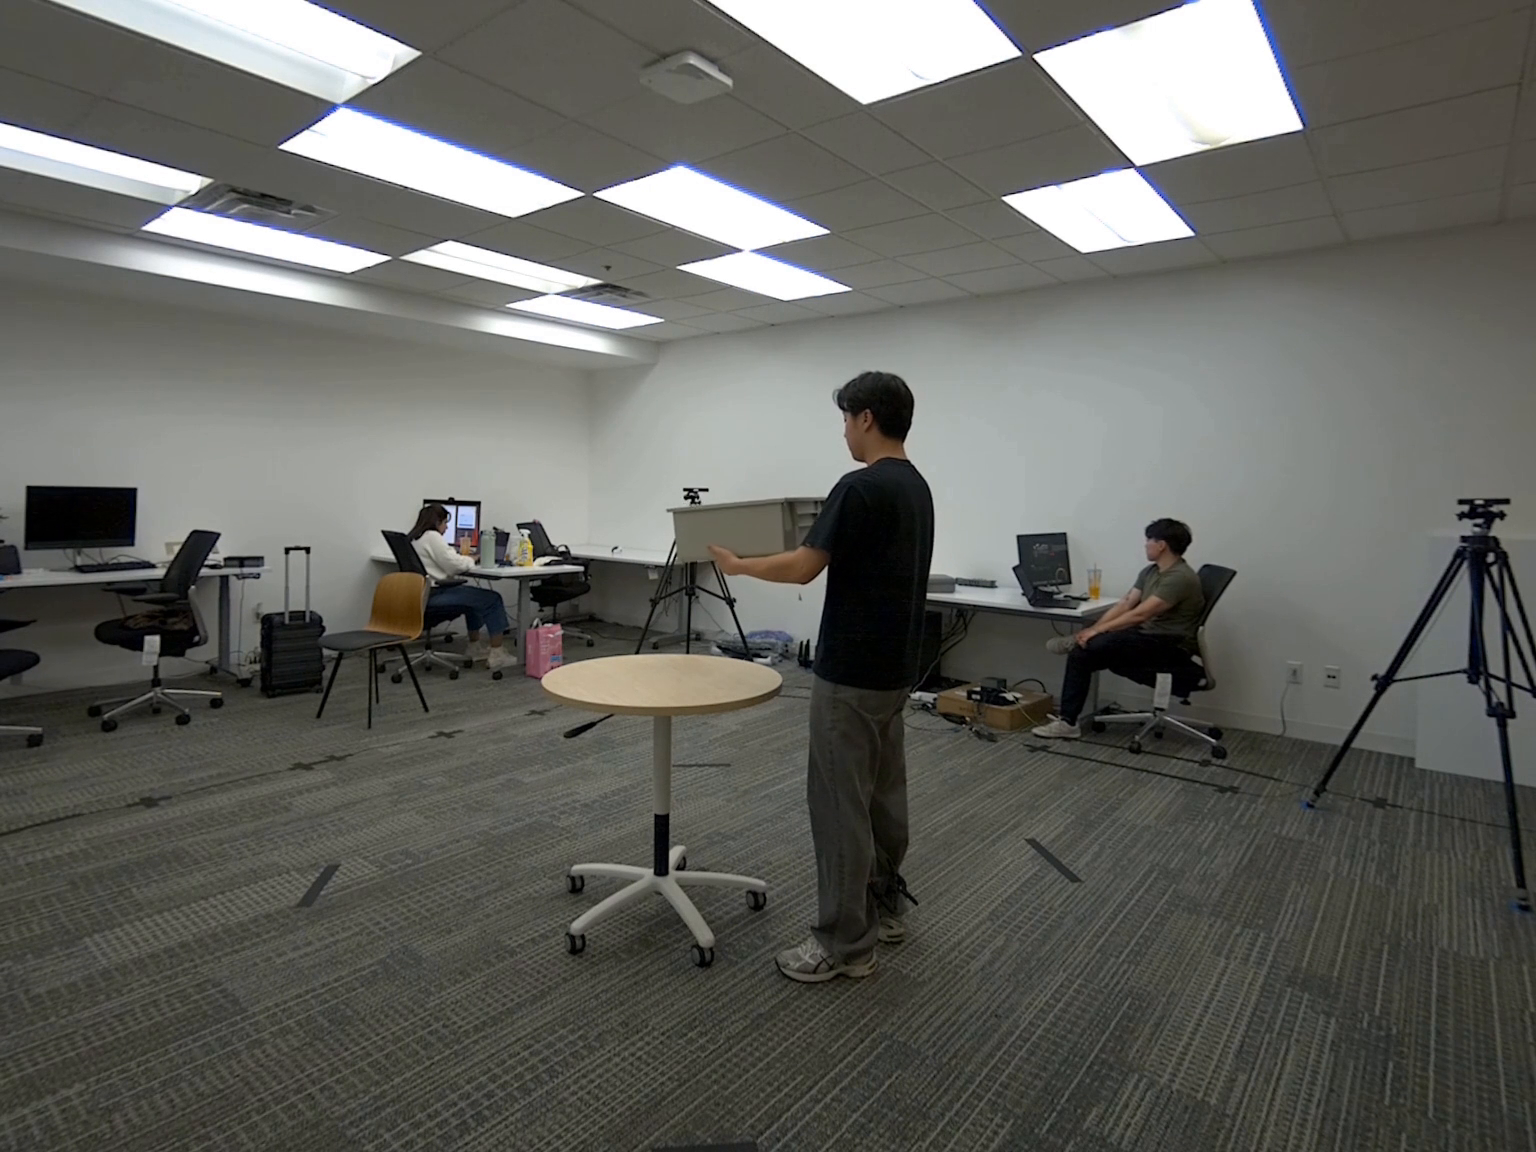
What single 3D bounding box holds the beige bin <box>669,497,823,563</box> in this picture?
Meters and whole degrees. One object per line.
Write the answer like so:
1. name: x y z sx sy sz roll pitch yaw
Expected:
1. beige bin: -0.057 -0.150 2.780 0.433 0.188 0.369 -2 5 28
